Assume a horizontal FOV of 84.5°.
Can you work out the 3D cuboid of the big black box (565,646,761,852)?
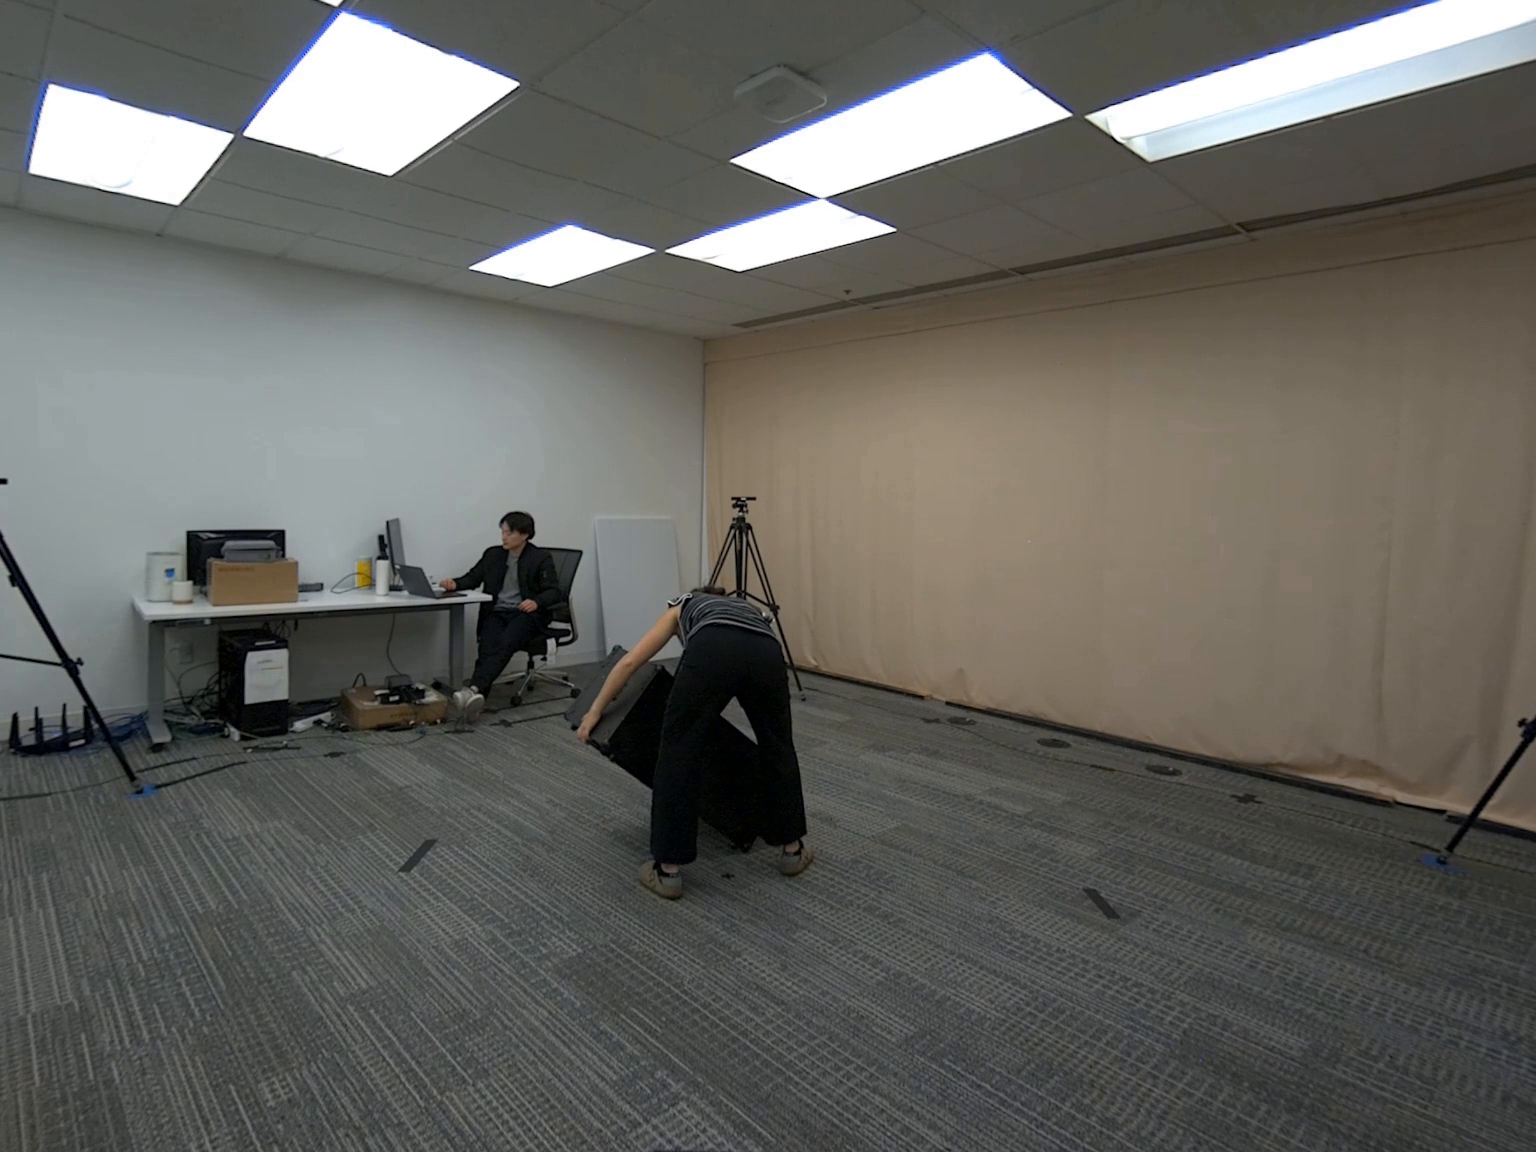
[{"bbox_3d":[-0.360,0.715,3.430,0.841,0.397,0.533,42,-15,-24],"label":"big black box"}]
